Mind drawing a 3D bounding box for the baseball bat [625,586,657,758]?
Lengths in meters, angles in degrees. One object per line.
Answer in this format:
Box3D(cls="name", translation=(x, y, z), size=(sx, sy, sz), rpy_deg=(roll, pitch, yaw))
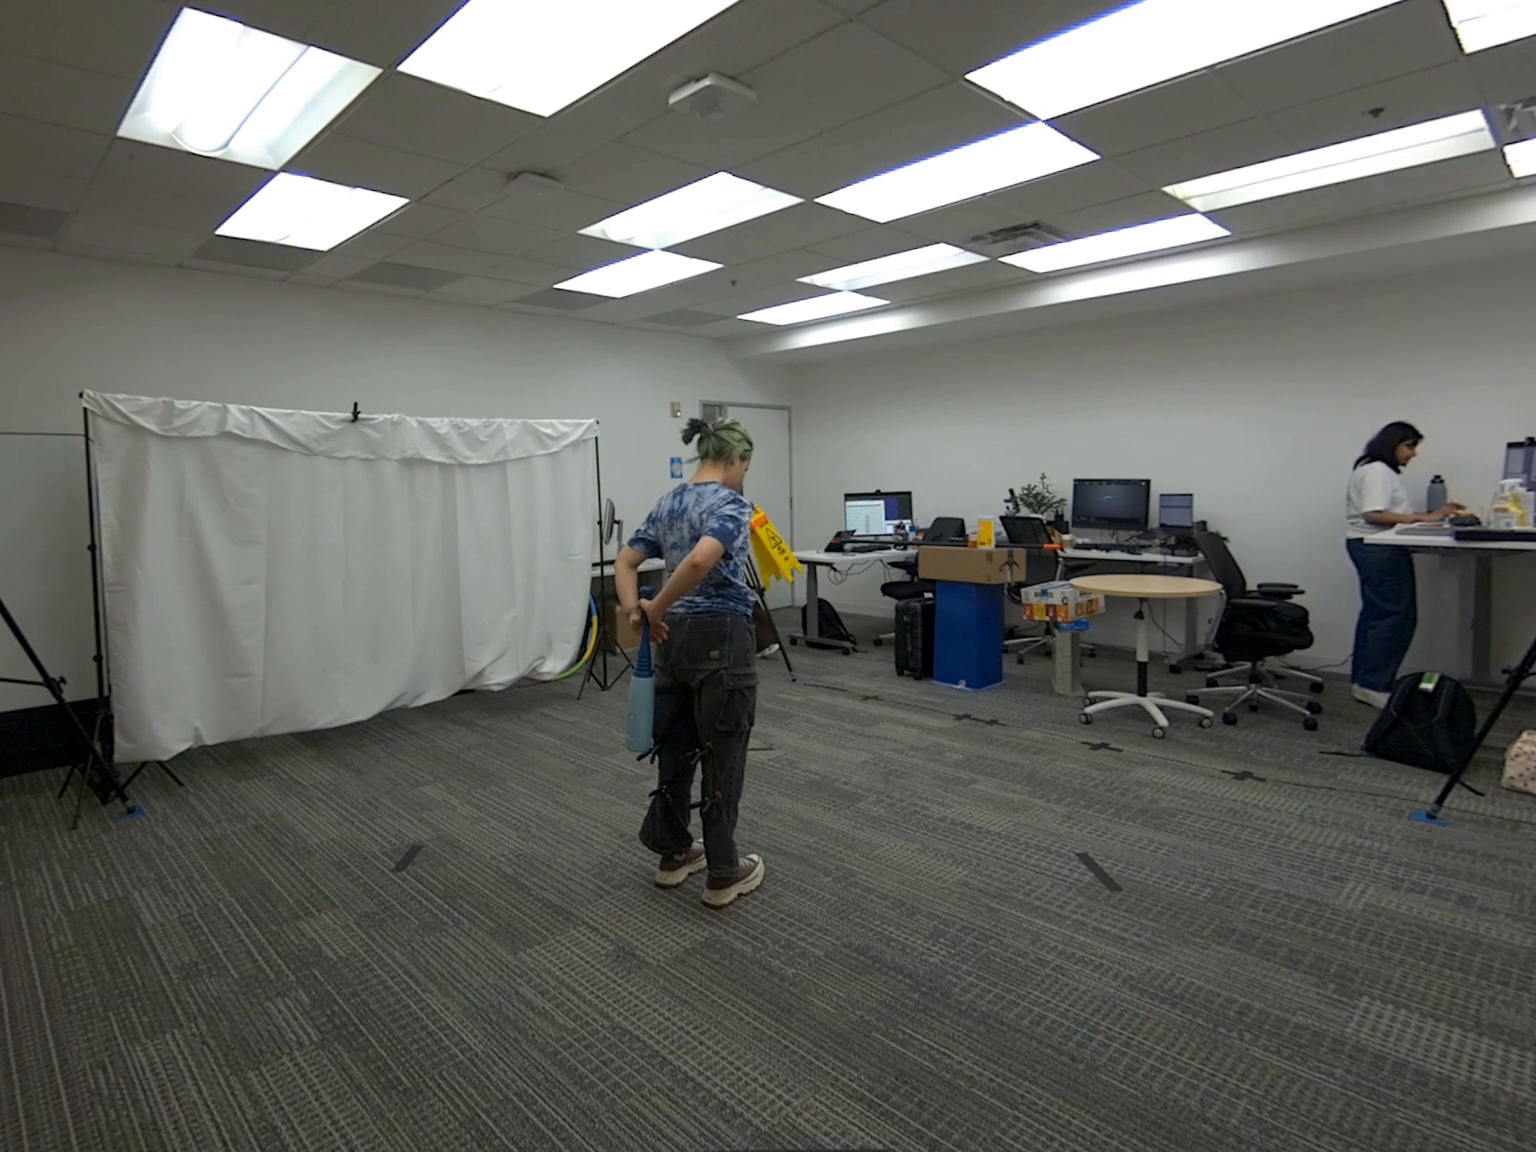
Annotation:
Box3D(cls="baseball bat", translation=(-0.399, 0.316, 2.776), size=(0.089, 0.540, 0.089), rpy_deg=(3, 6, -2))
